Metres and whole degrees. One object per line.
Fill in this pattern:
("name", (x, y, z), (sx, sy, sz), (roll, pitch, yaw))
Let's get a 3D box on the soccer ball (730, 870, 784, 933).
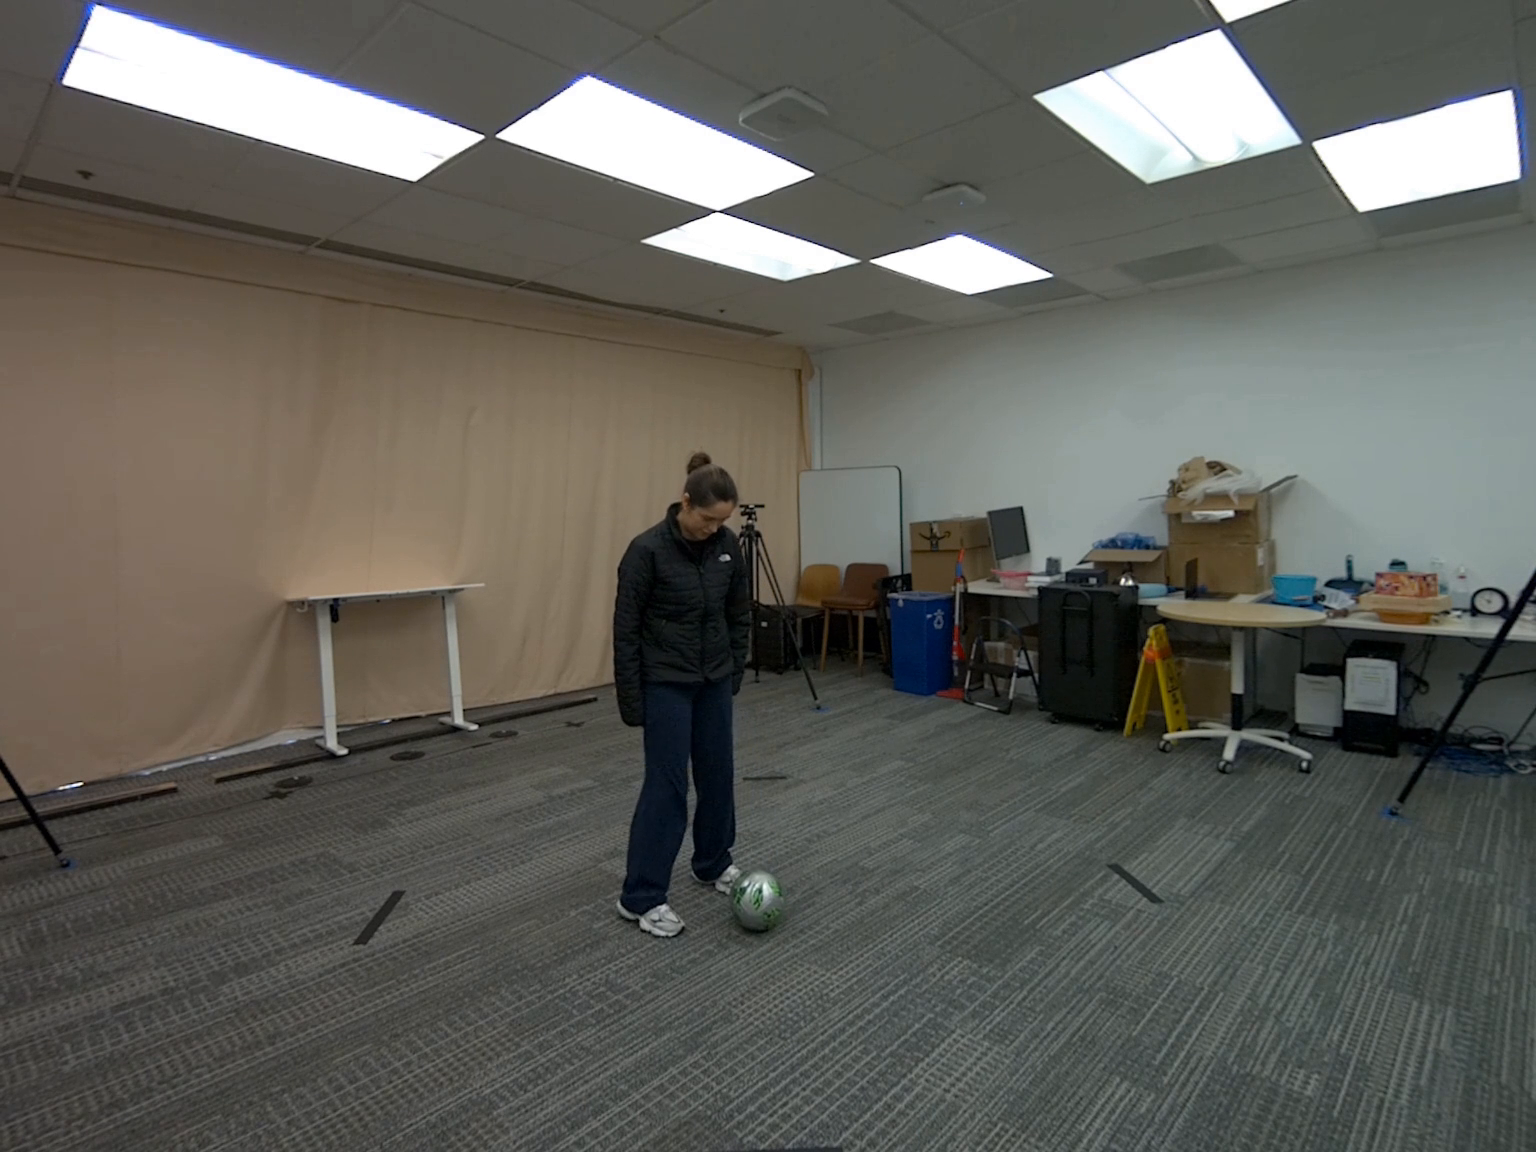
("soccer ball", (-0.033, 1.063, 2.764), (0.187, 0.187, 0.188), (-1, 4, -2))
